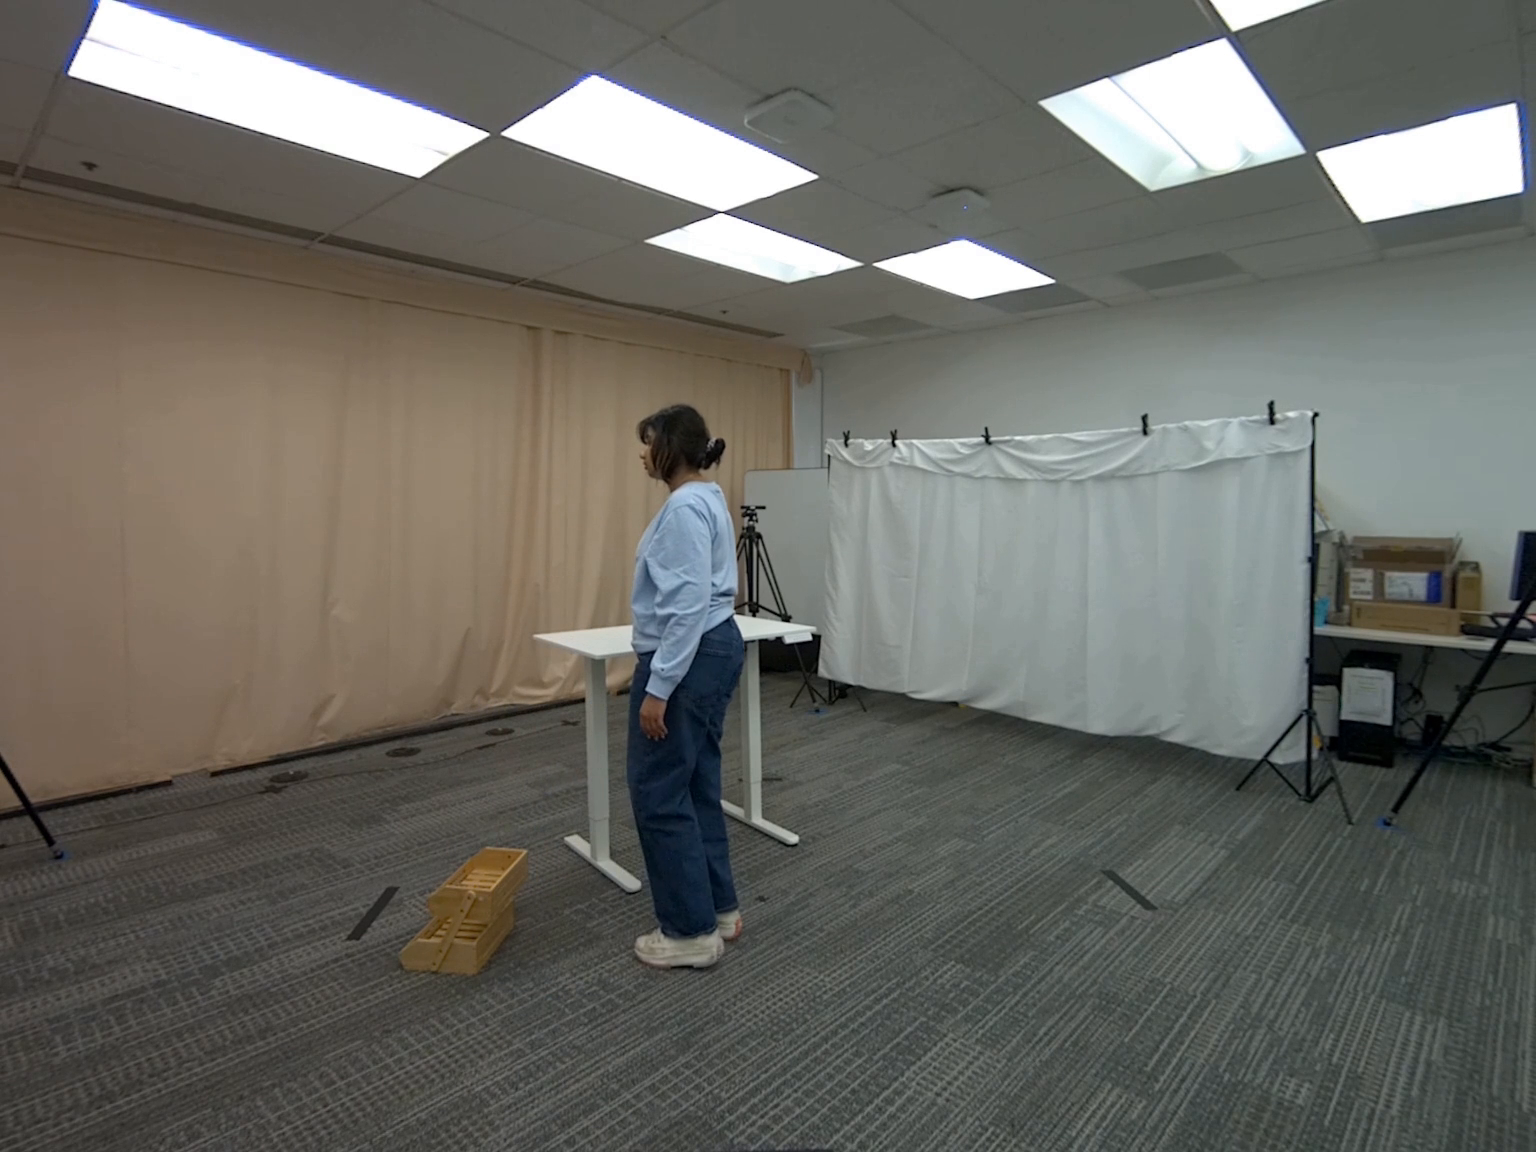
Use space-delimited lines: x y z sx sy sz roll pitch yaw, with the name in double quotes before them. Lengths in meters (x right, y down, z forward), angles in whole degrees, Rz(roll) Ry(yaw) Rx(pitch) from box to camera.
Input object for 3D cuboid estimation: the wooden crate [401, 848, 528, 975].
"wooden crate" -0.961 1.048 2.665 0.304 0.273 0.323 0 4 6
